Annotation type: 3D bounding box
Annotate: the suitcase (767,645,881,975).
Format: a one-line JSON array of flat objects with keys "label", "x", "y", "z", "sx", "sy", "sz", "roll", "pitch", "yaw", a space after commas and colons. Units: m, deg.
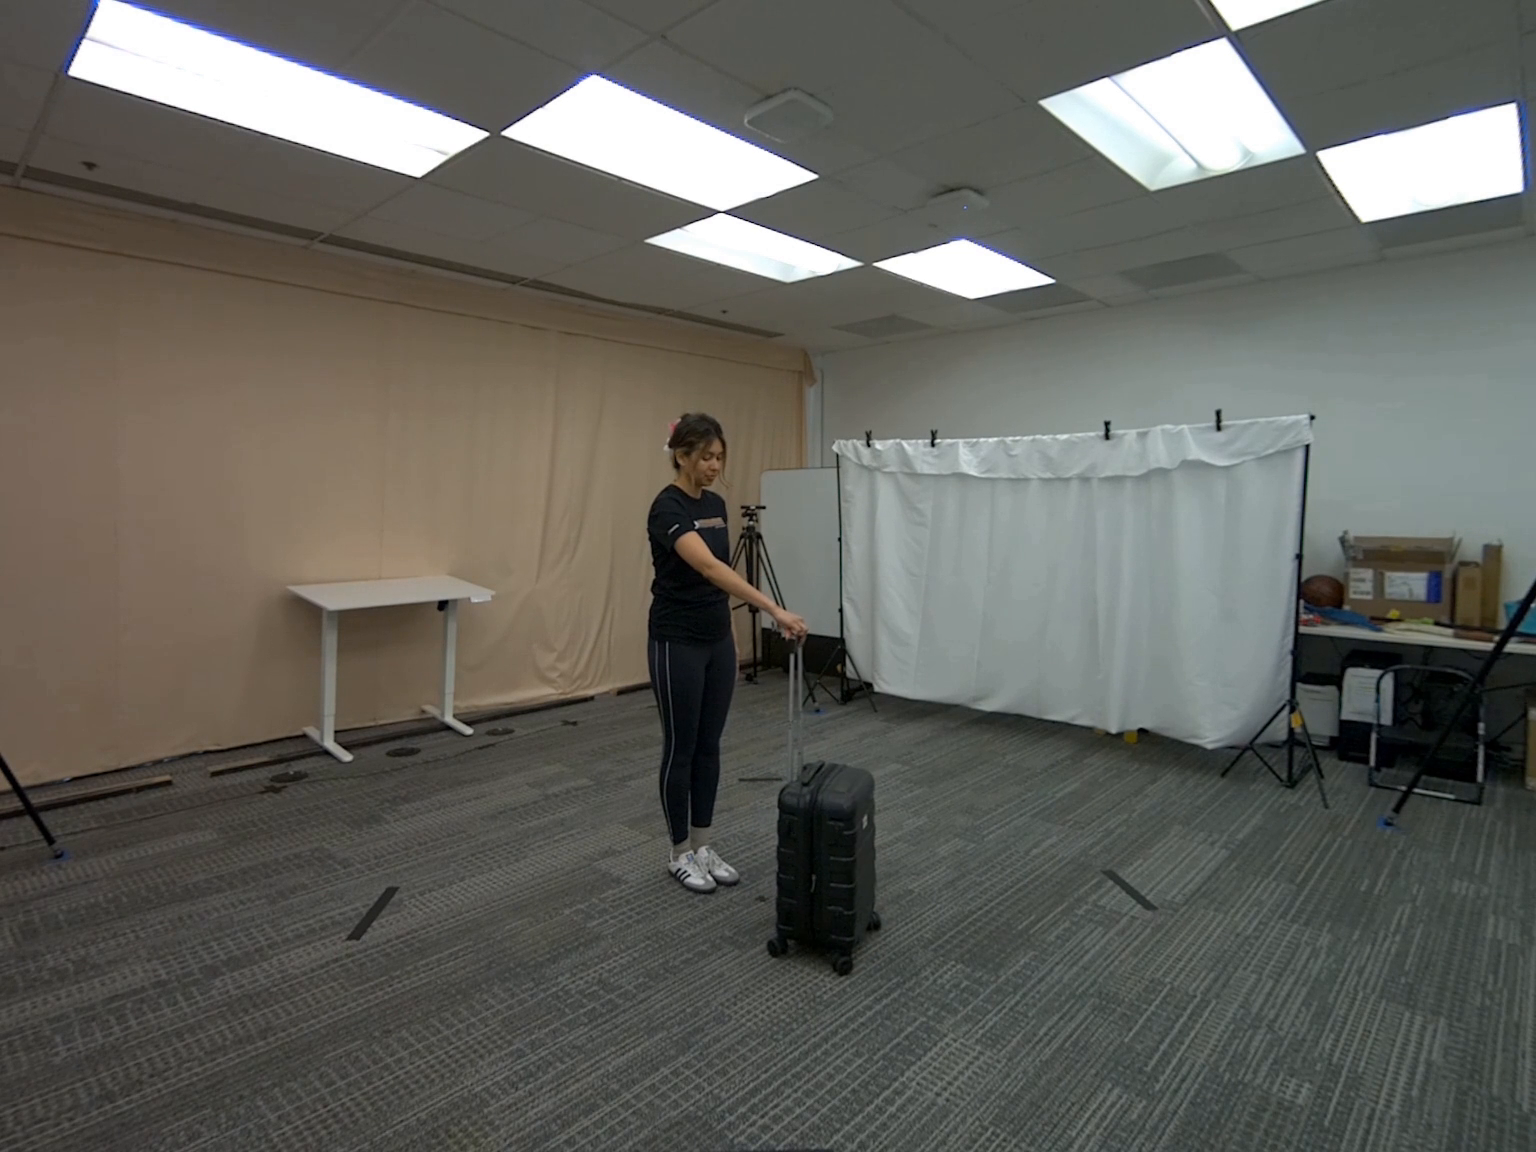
[{"label": "suitcase", "x": 0.201, "y": 0.697, "z": 2.665, "sx": 0.263, "sy": 0.976, "sz": 0.376, "roll": 3, "pitch": 4, "yaw": 20}]
